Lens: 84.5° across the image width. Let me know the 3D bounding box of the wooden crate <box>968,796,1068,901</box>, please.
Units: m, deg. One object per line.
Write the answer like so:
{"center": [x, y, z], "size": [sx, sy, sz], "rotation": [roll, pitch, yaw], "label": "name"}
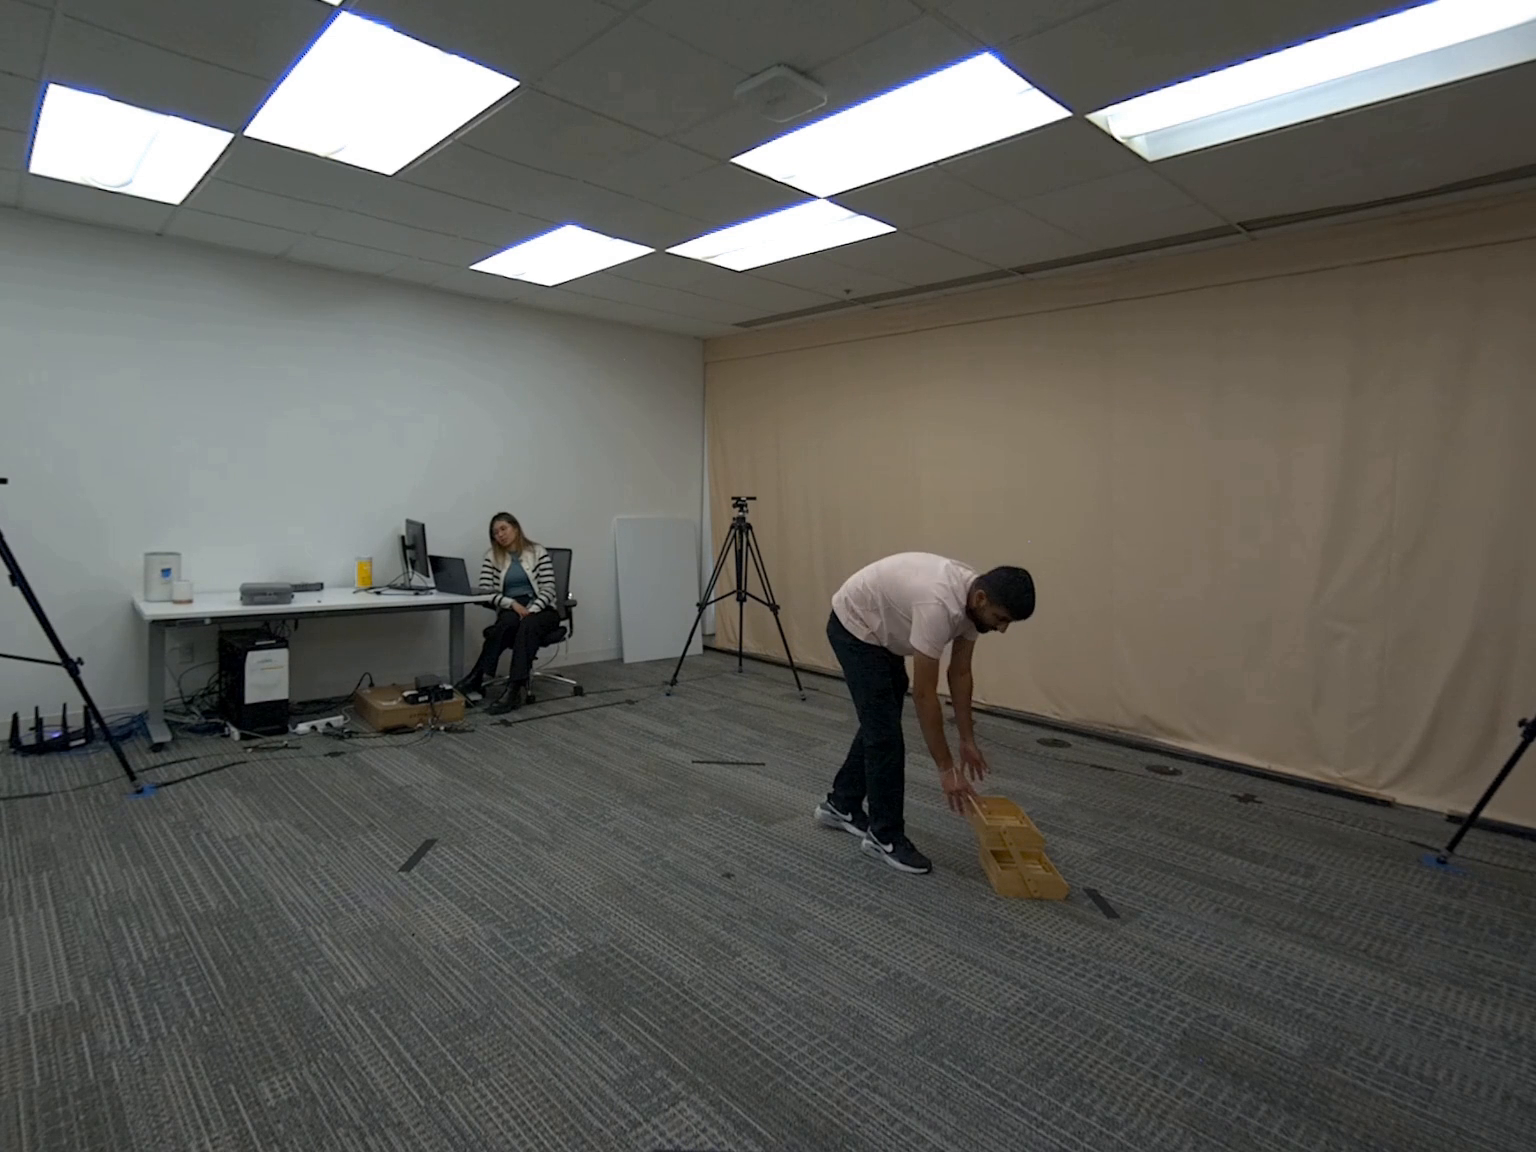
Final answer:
{"center": [0.927, 1.006, 3.136], "size": [0.303, 0.273, 0.324], "rotation": [3, 4, 2], "label": "wooden crate"}
